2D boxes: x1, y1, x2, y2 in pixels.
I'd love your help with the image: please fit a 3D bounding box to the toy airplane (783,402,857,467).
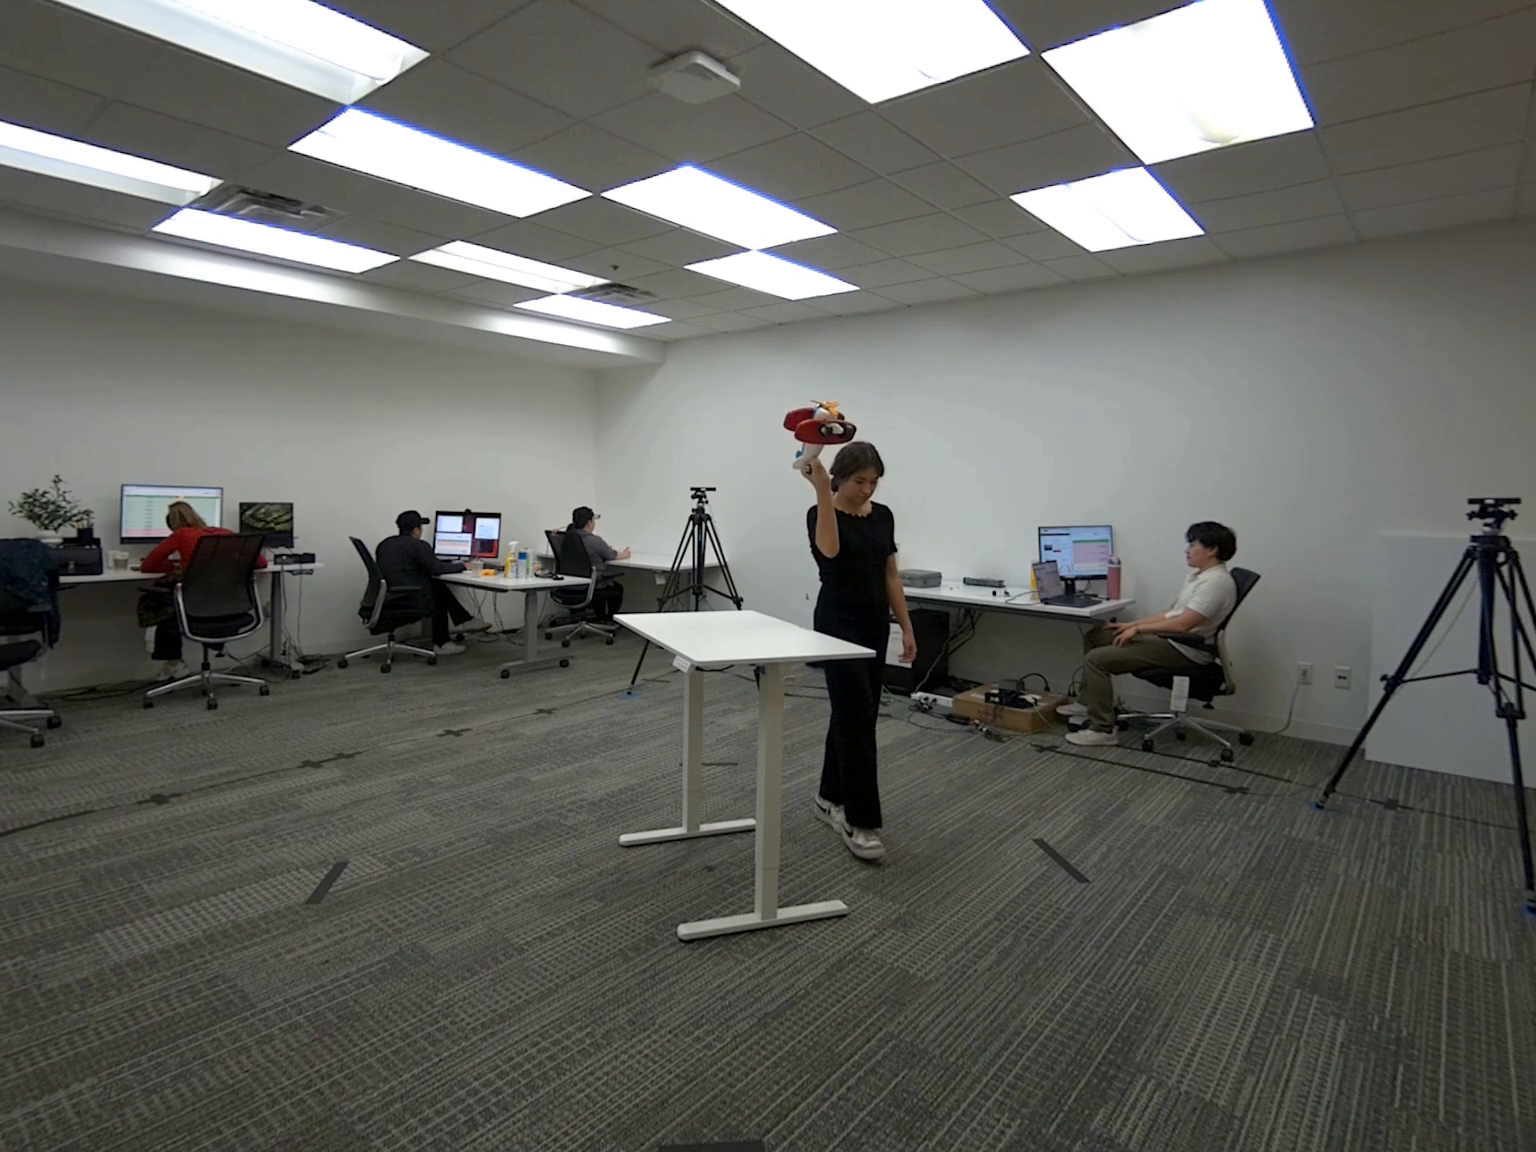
[{"bbox_3d":[0.148,-0.480,2.967,0.260,0.162,0.241,-37,-34,20],"label":"toy airplane"}]
